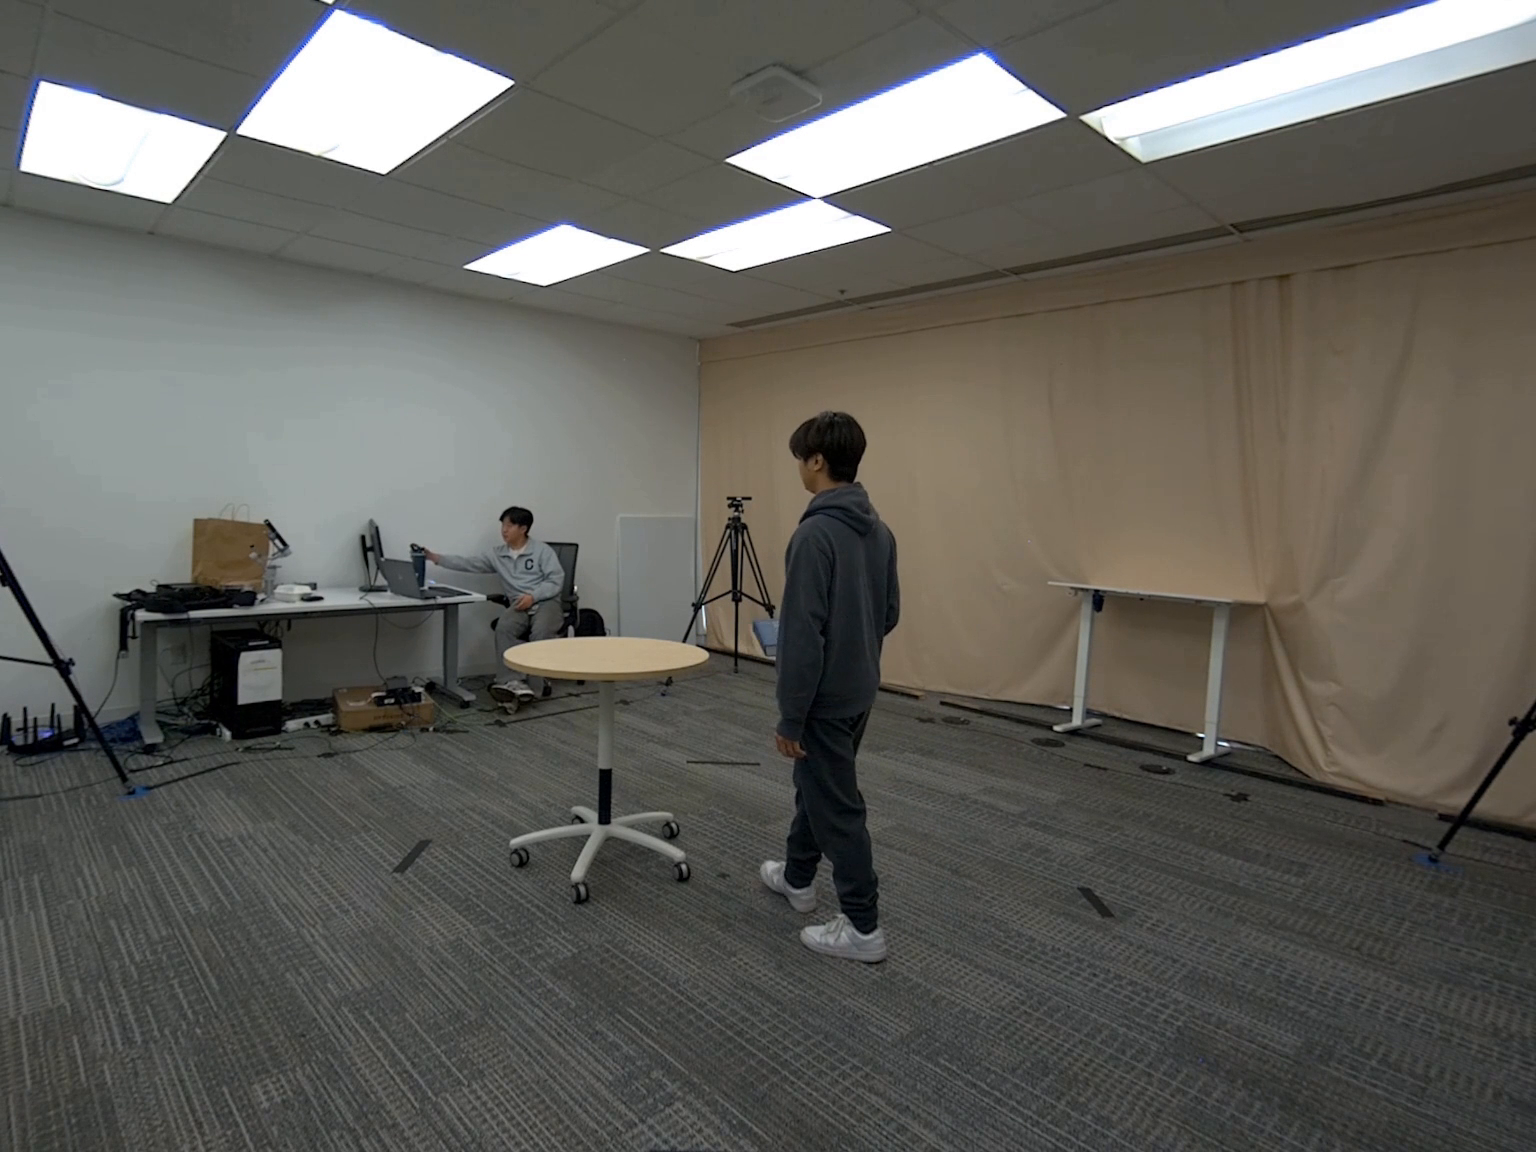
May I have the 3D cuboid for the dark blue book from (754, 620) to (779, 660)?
[{"bbox_3d":[0.059,0.218,2.952,0.162,0.045,0.250,-3,17,-12],"label":"dark blue book"}]
